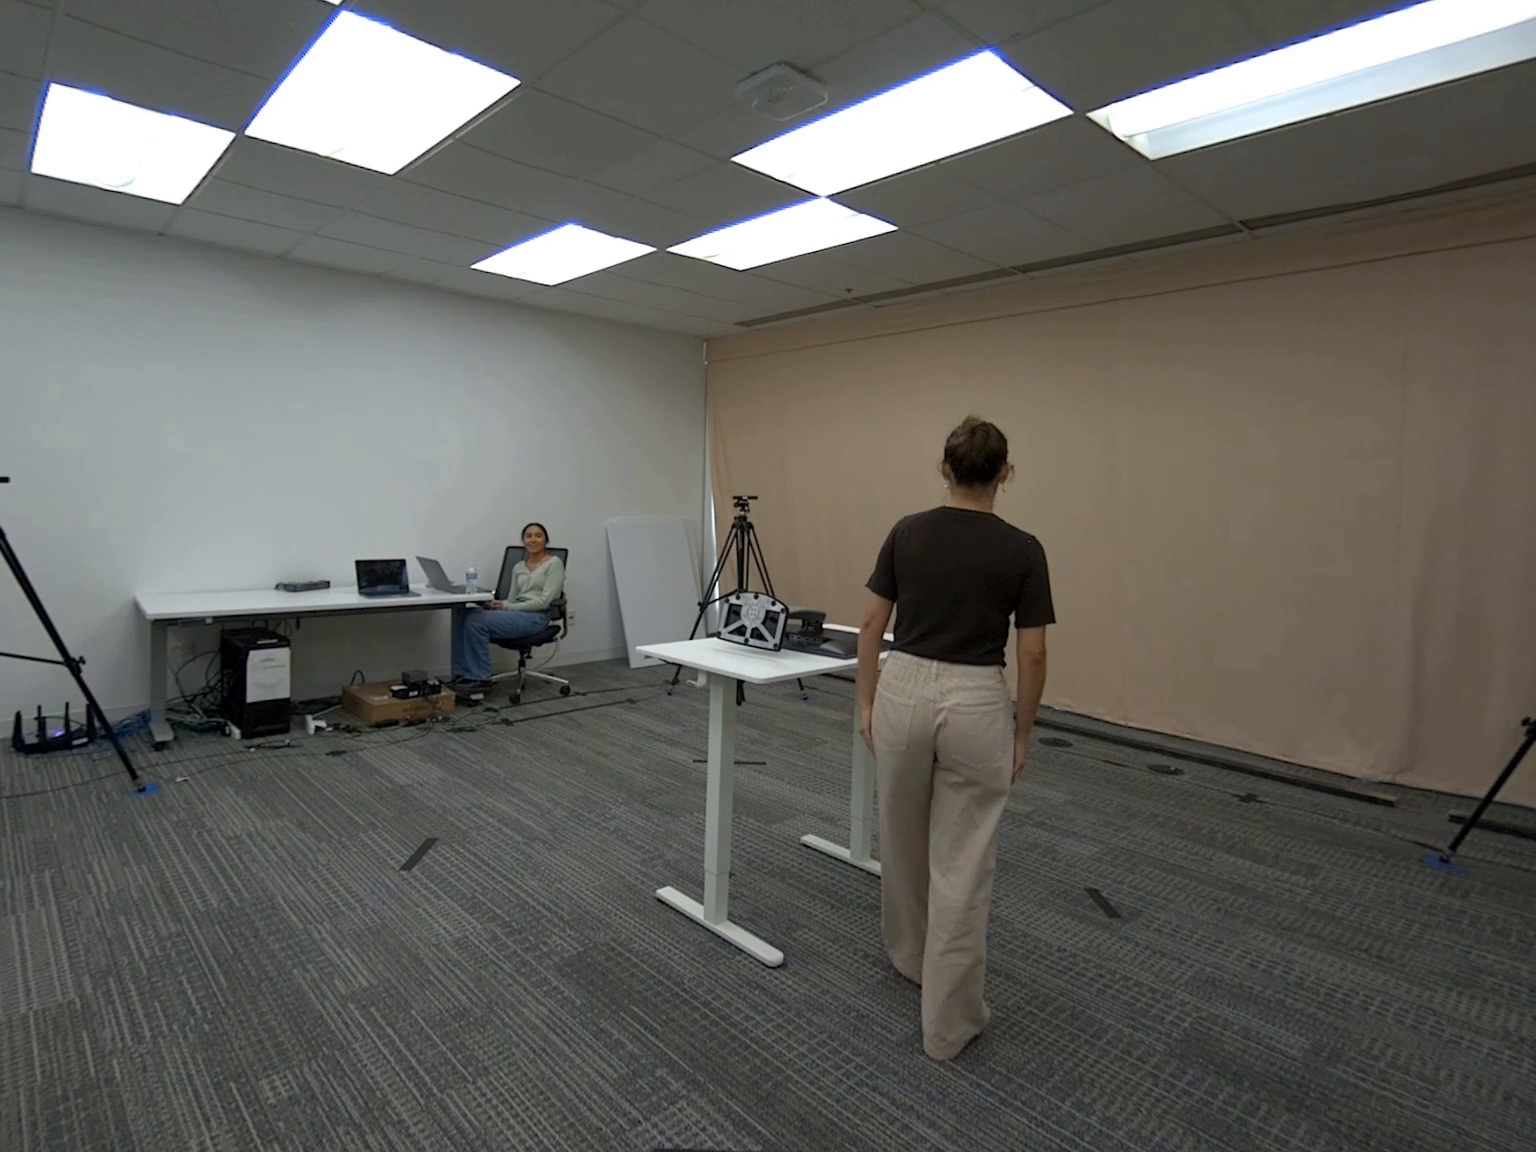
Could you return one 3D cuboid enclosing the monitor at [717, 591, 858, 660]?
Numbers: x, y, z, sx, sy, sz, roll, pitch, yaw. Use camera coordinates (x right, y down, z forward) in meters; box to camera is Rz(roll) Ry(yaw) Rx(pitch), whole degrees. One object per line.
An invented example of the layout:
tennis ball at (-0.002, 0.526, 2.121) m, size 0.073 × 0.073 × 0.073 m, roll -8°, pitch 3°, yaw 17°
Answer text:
monitor at (0.089, 0.188, 2.932) m, size 0.553 × 0.187 × 0.507 m, roll 9°, pitch -5°, yaw 42°
